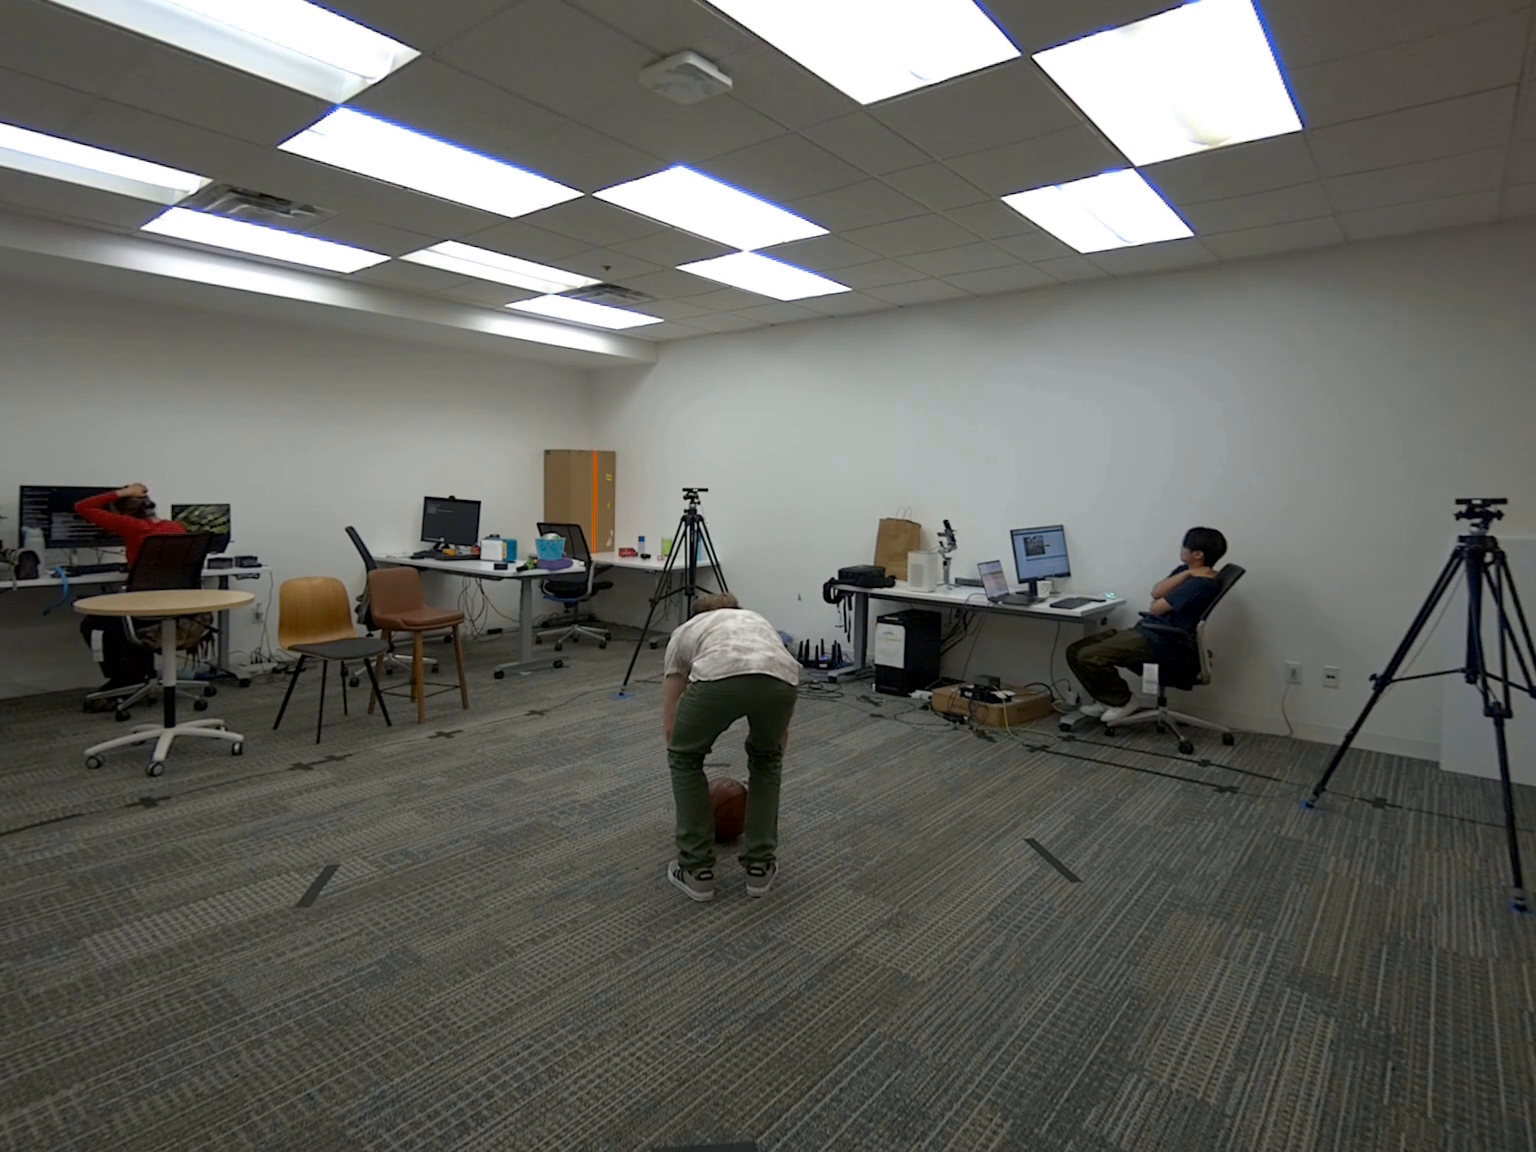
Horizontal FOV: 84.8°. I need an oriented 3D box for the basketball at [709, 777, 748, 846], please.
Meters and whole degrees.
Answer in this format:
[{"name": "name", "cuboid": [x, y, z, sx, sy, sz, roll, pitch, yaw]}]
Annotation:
[{"name": "basketball", "cuboid": [-0.183, 0.913, 3.391, 0.235, 0.235, 0.237, 1, 4, -2]}]
